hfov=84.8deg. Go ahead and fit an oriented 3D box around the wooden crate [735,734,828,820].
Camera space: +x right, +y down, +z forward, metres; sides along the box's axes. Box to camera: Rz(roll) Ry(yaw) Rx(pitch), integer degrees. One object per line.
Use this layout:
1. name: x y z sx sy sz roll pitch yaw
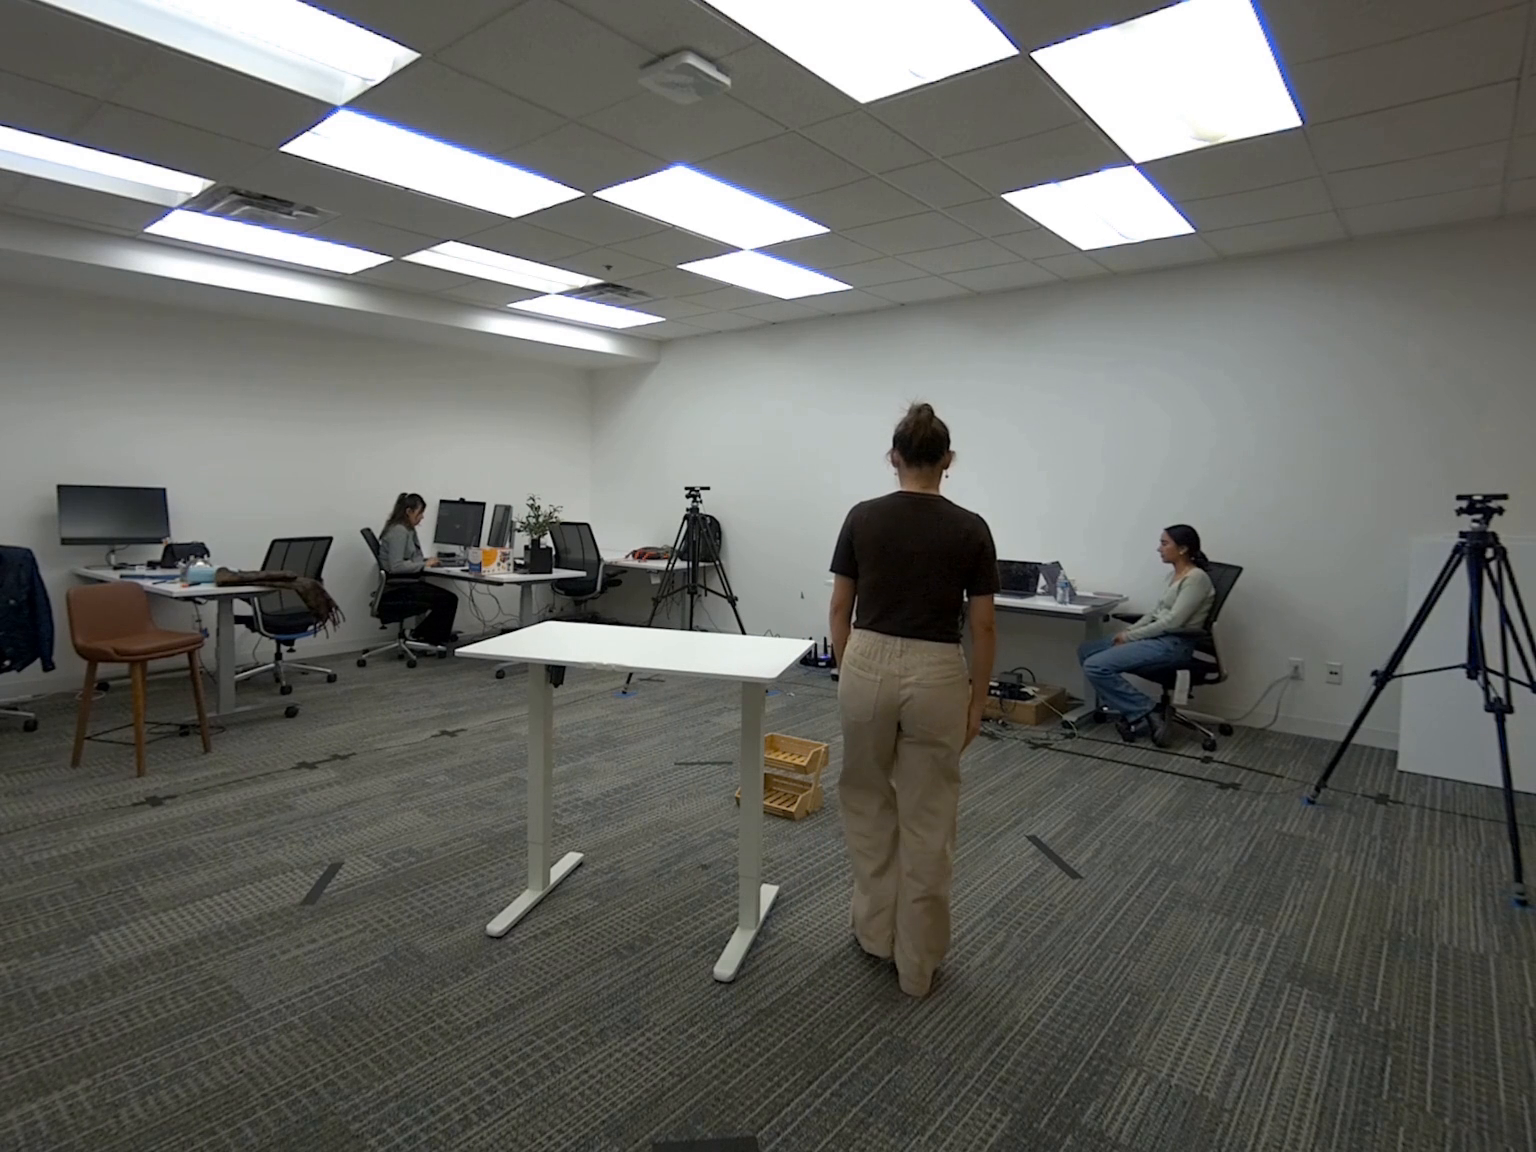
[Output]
1. wooden crate: 0.059 0.872 3.757 0.335 0.272 0.294 4 5 33
